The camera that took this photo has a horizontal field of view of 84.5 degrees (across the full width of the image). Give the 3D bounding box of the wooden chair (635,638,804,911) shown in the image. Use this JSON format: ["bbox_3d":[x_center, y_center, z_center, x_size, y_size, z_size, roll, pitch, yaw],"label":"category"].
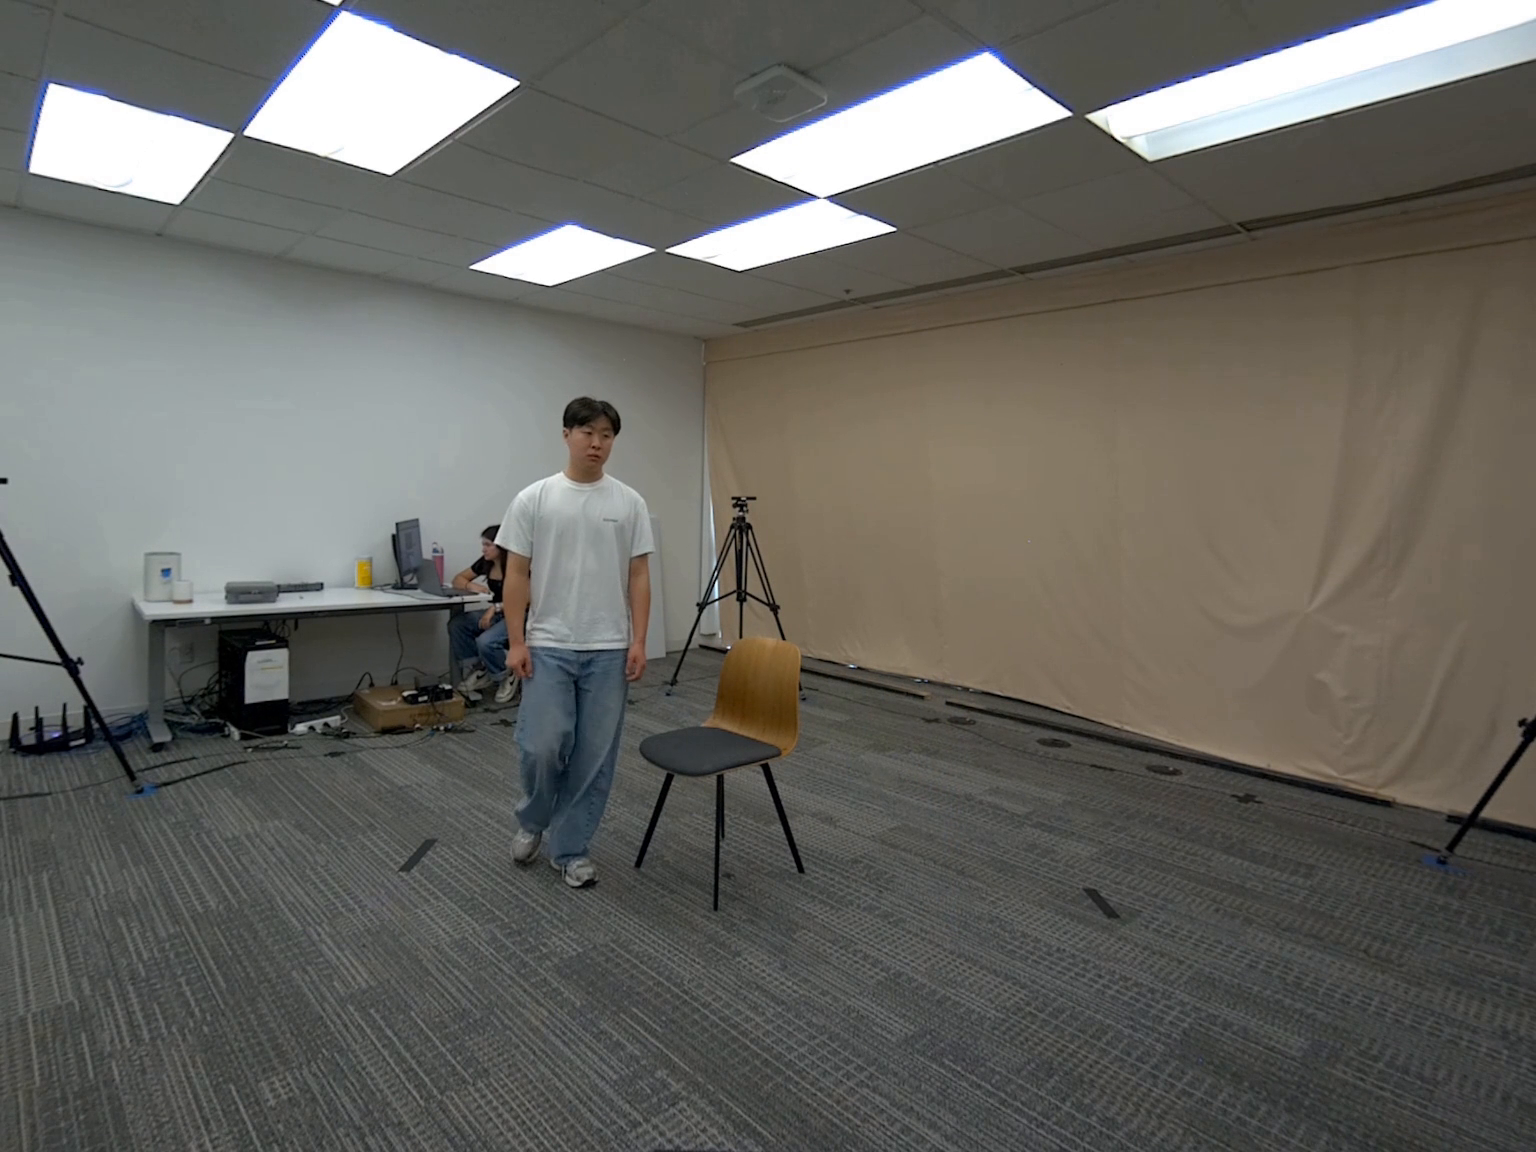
[{"bbox_3d":[-0.186,0.675,3.112,0.510,0.877,0.490,4,0,-45],"label":"wooden chair"}]
